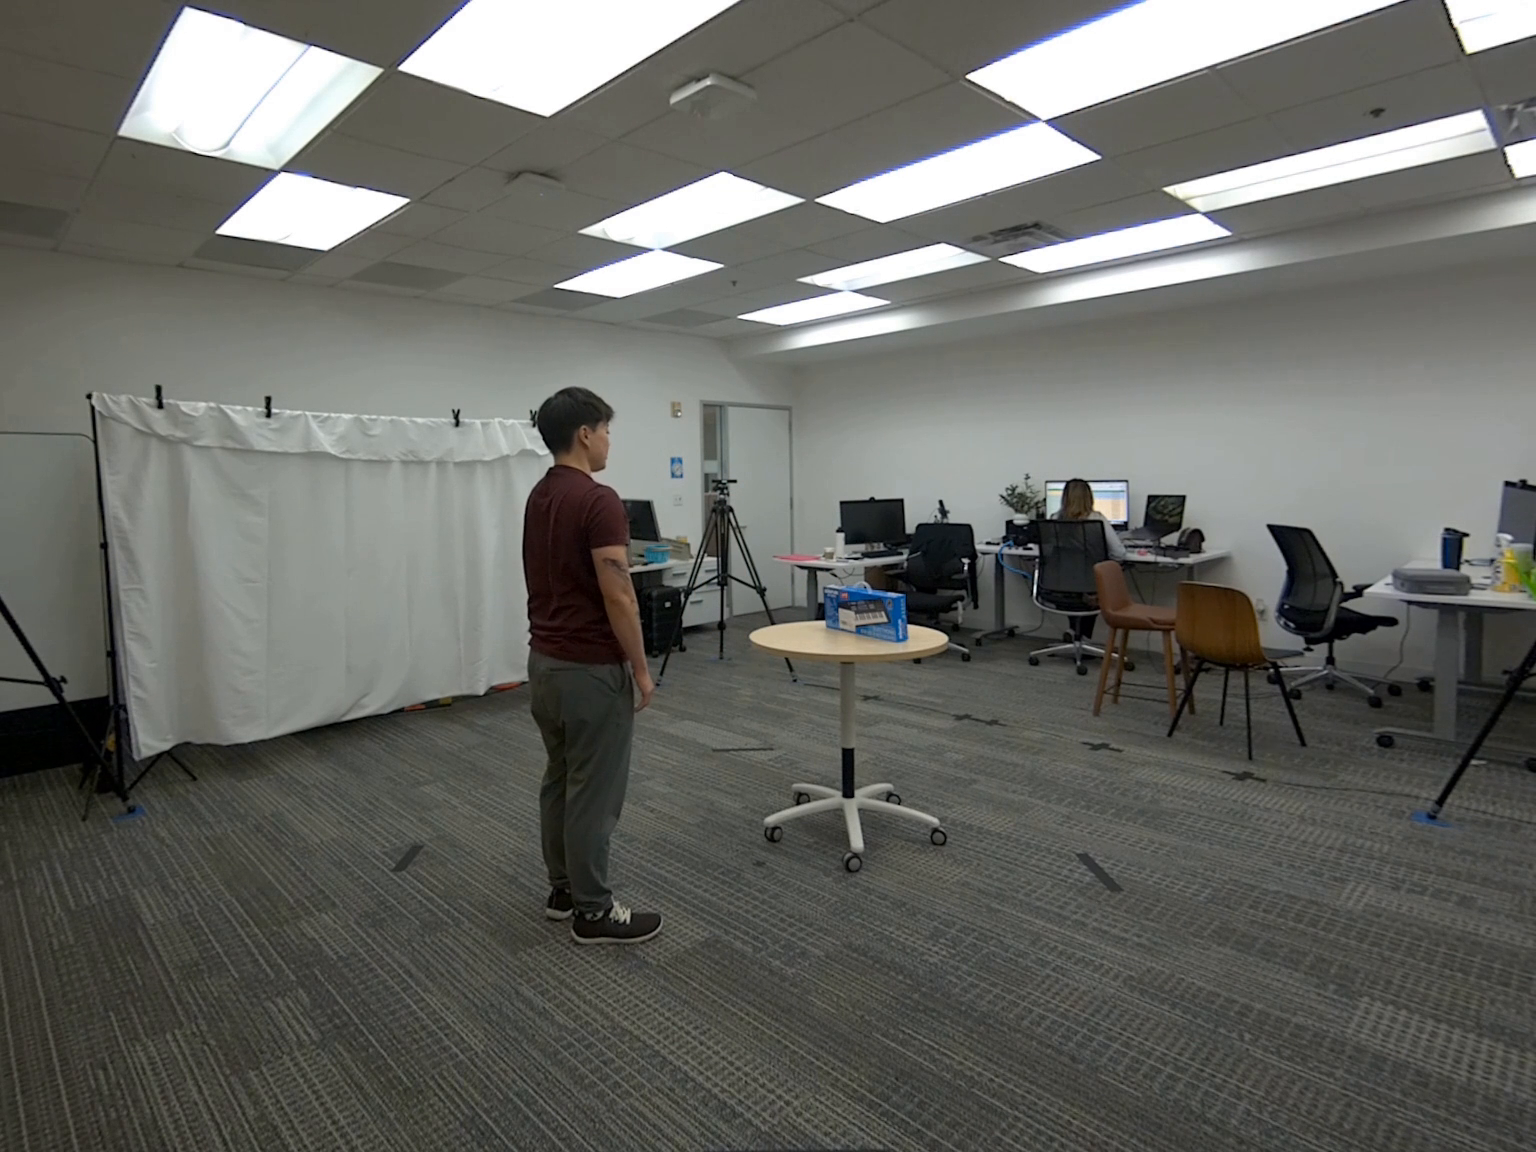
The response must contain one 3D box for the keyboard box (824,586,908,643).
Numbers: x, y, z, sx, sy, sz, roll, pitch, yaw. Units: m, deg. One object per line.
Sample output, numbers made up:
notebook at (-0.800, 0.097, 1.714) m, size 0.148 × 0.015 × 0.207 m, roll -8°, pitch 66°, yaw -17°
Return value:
keyboard box at (0.382, 0.146, 3.368) m, size 0.058 × 0.175 × 0.449 m, roll -8°, pitch 8°, yaw -31°
